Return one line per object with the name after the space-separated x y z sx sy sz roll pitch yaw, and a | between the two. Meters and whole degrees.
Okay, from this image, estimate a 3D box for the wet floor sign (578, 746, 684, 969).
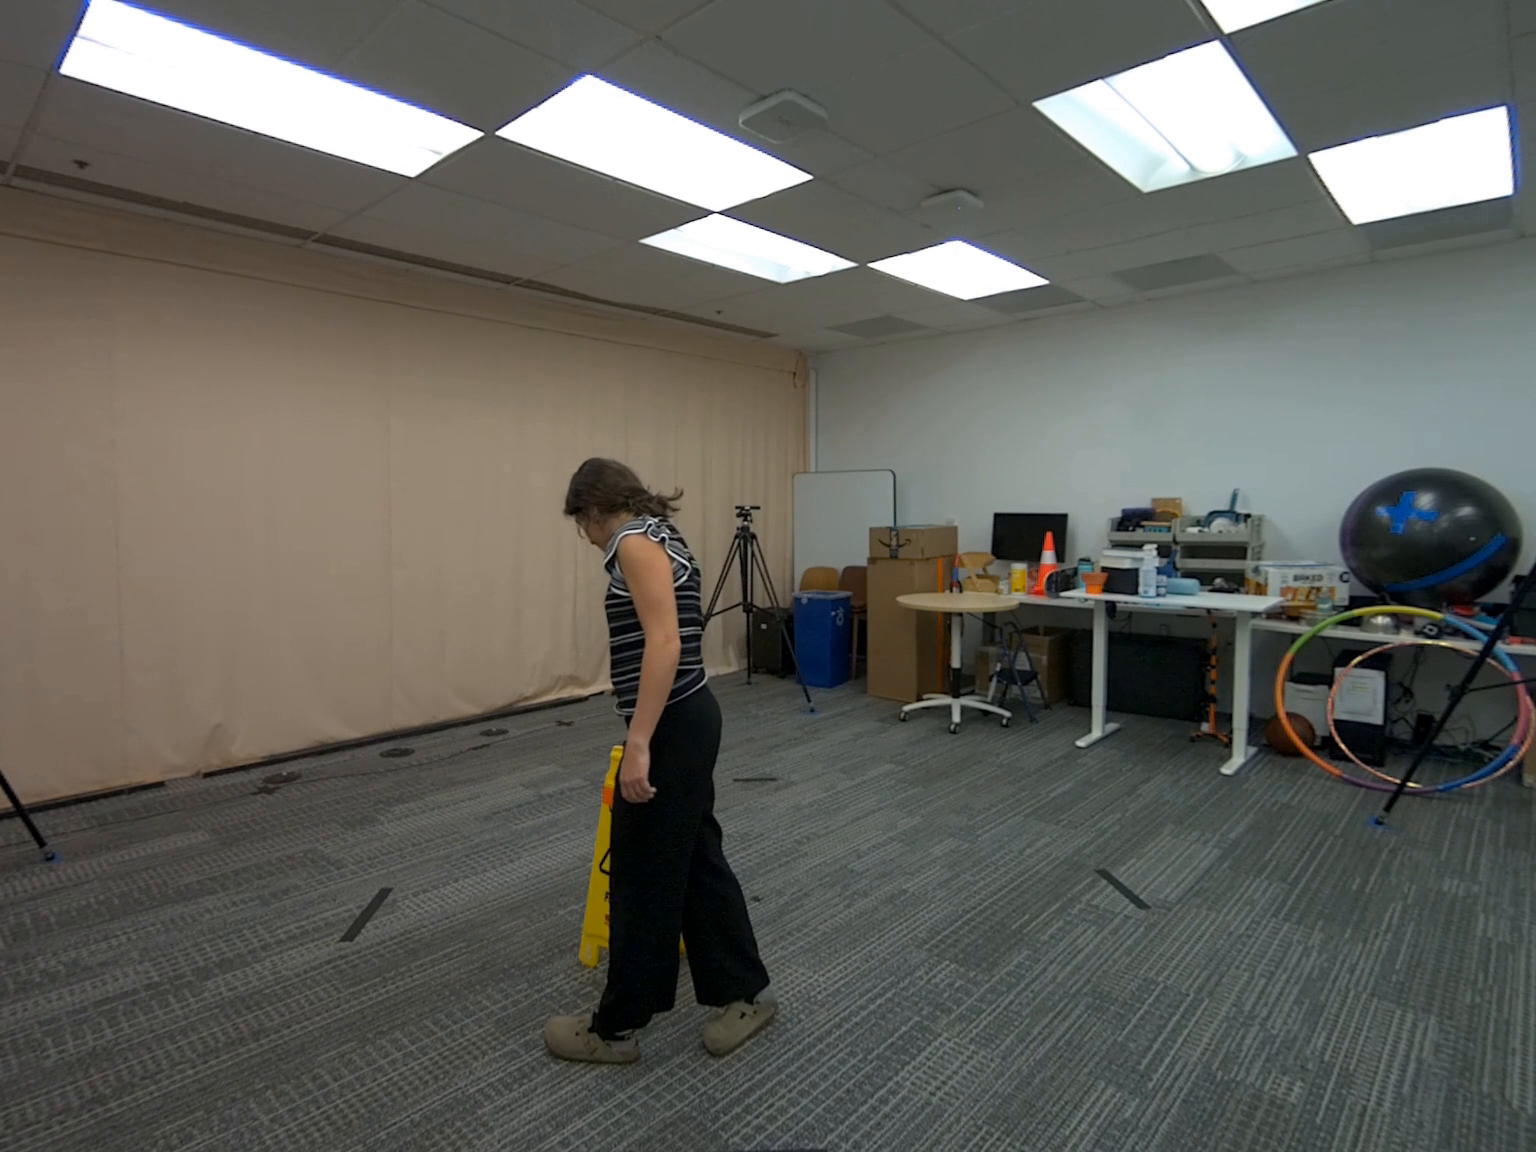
-0.402 0.857 2.564 0.291 0.645 0.281 1 4 39 | wet floor sign
